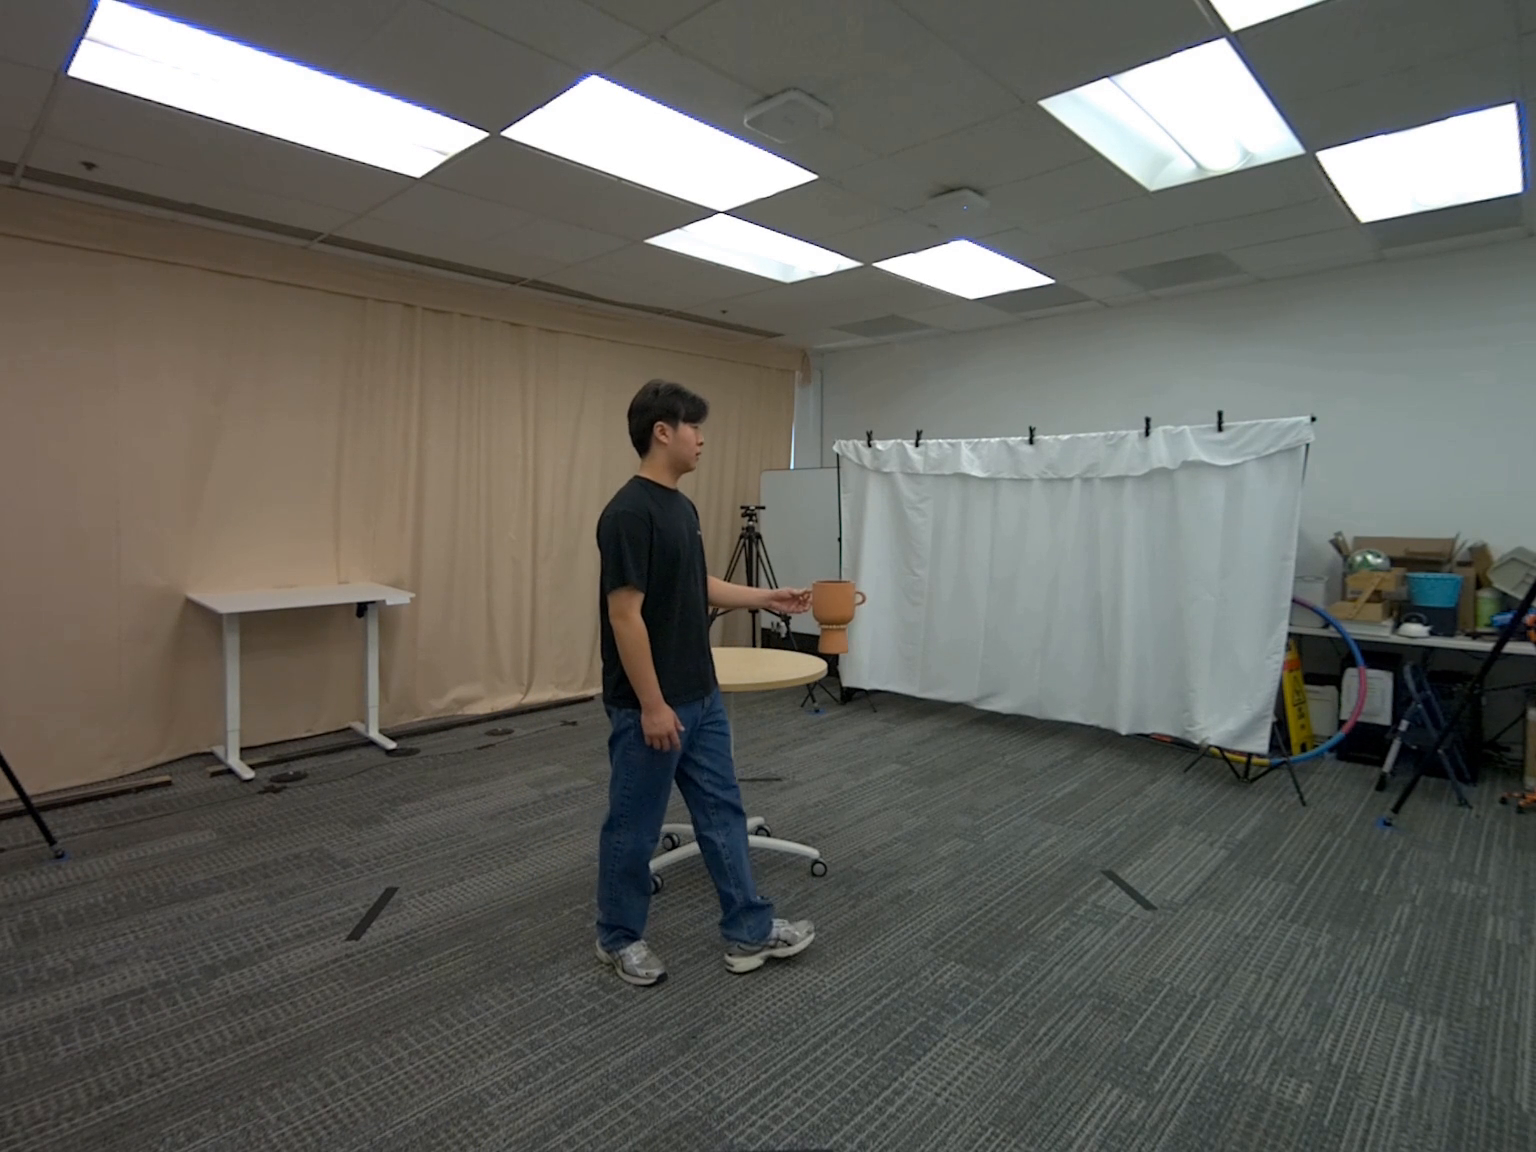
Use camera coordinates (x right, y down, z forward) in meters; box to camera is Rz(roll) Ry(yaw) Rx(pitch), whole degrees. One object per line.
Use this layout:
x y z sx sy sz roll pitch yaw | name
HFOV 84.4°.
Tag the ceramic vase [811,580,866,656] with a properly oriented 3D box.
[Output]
0.216 0.128 2.631 0.130 0.219 0.164 -2 3 -40 | ceramic vase
